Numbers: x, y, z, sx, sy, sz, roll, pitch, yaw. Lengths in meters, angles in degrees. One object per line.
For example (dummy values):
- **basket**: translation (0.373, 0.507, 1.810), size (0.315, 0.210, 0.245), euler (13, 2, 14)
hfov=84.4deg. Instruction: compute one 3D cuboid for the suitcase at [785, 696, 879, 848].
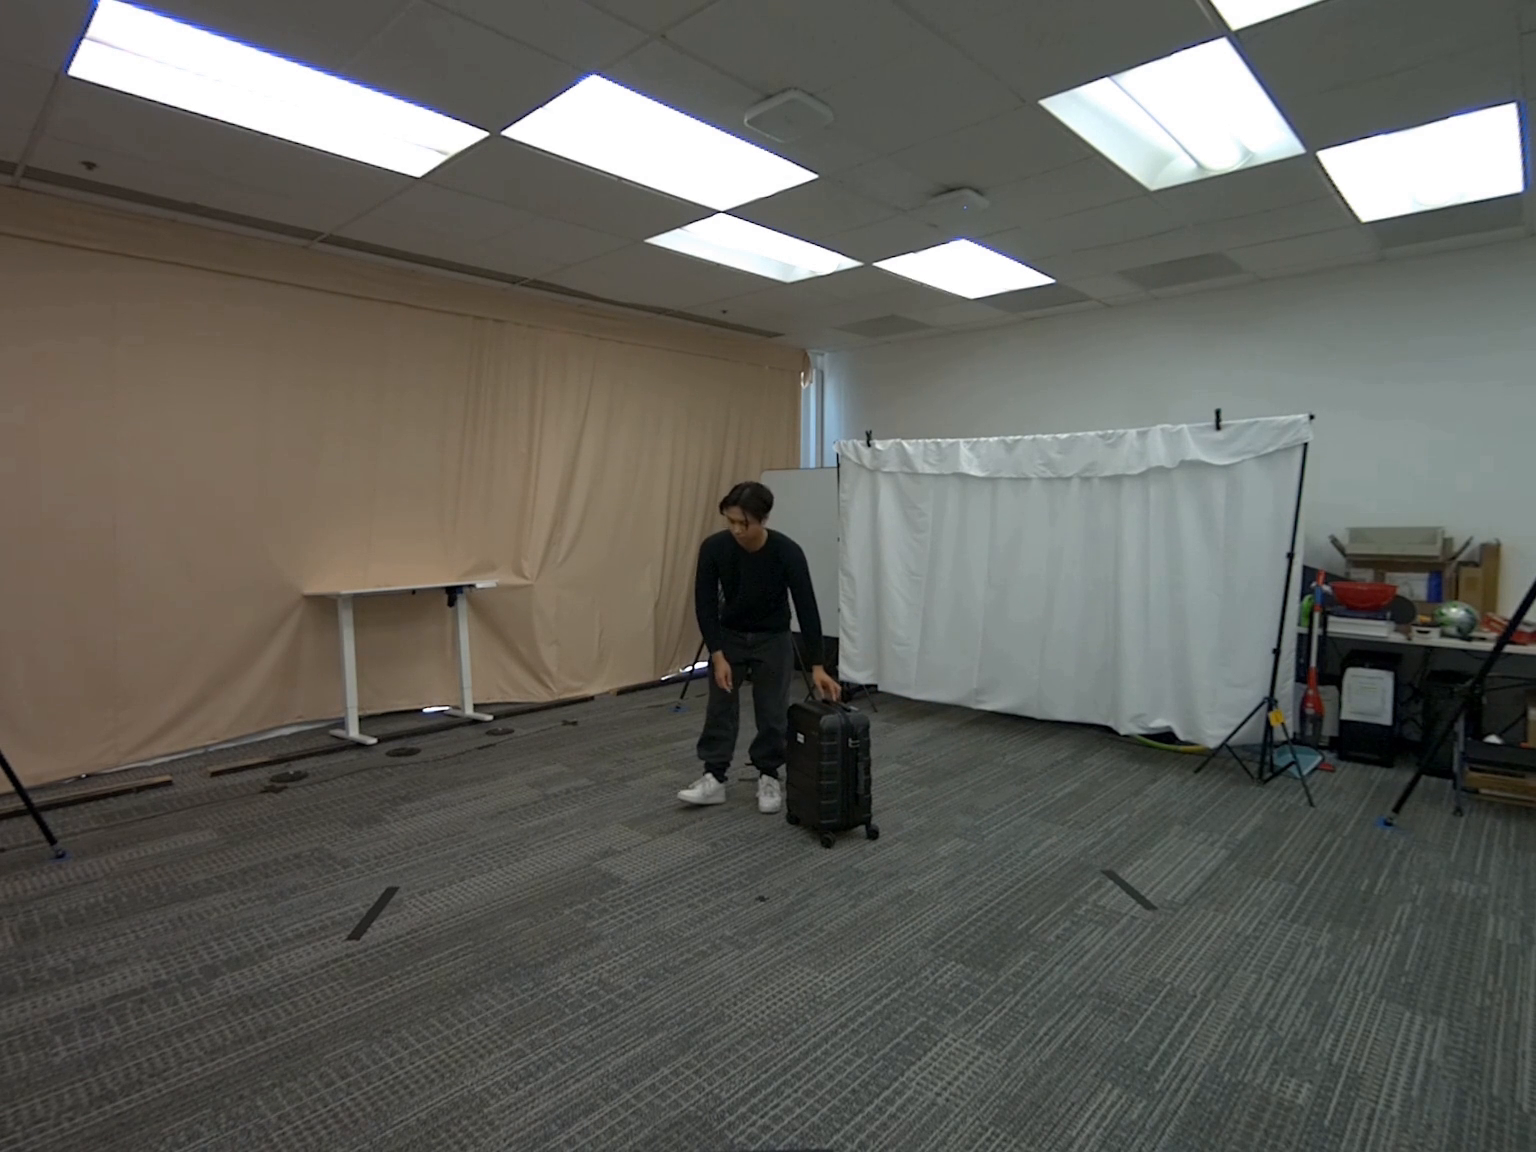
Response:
- **suitcase**: translation (0.263, 0.816, 3.604), size (0.242, 0.548, 0.385), euler (-3, 3, -25)
